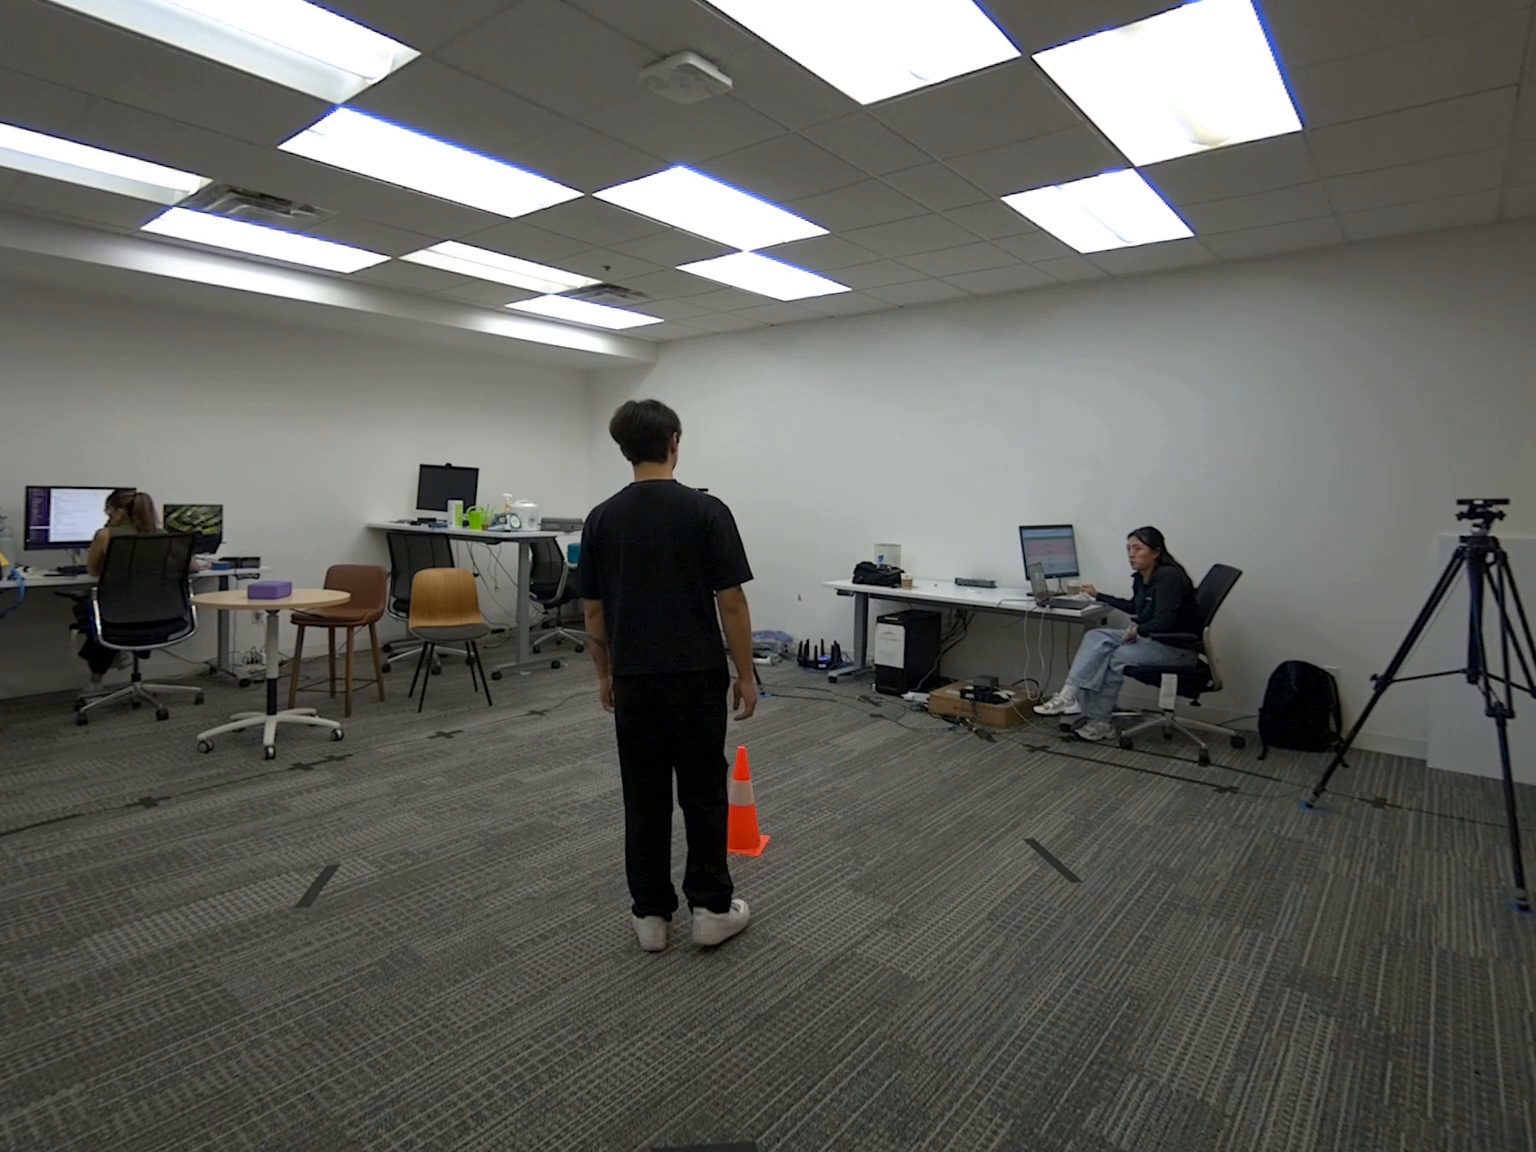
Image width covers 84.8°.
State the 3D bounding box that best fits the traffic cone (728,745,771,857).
[{"bbox_3d":[-0.111,0.863,3.341,0.209,0.382,0.200,3,4,17],"label":"traffic cone"}]
